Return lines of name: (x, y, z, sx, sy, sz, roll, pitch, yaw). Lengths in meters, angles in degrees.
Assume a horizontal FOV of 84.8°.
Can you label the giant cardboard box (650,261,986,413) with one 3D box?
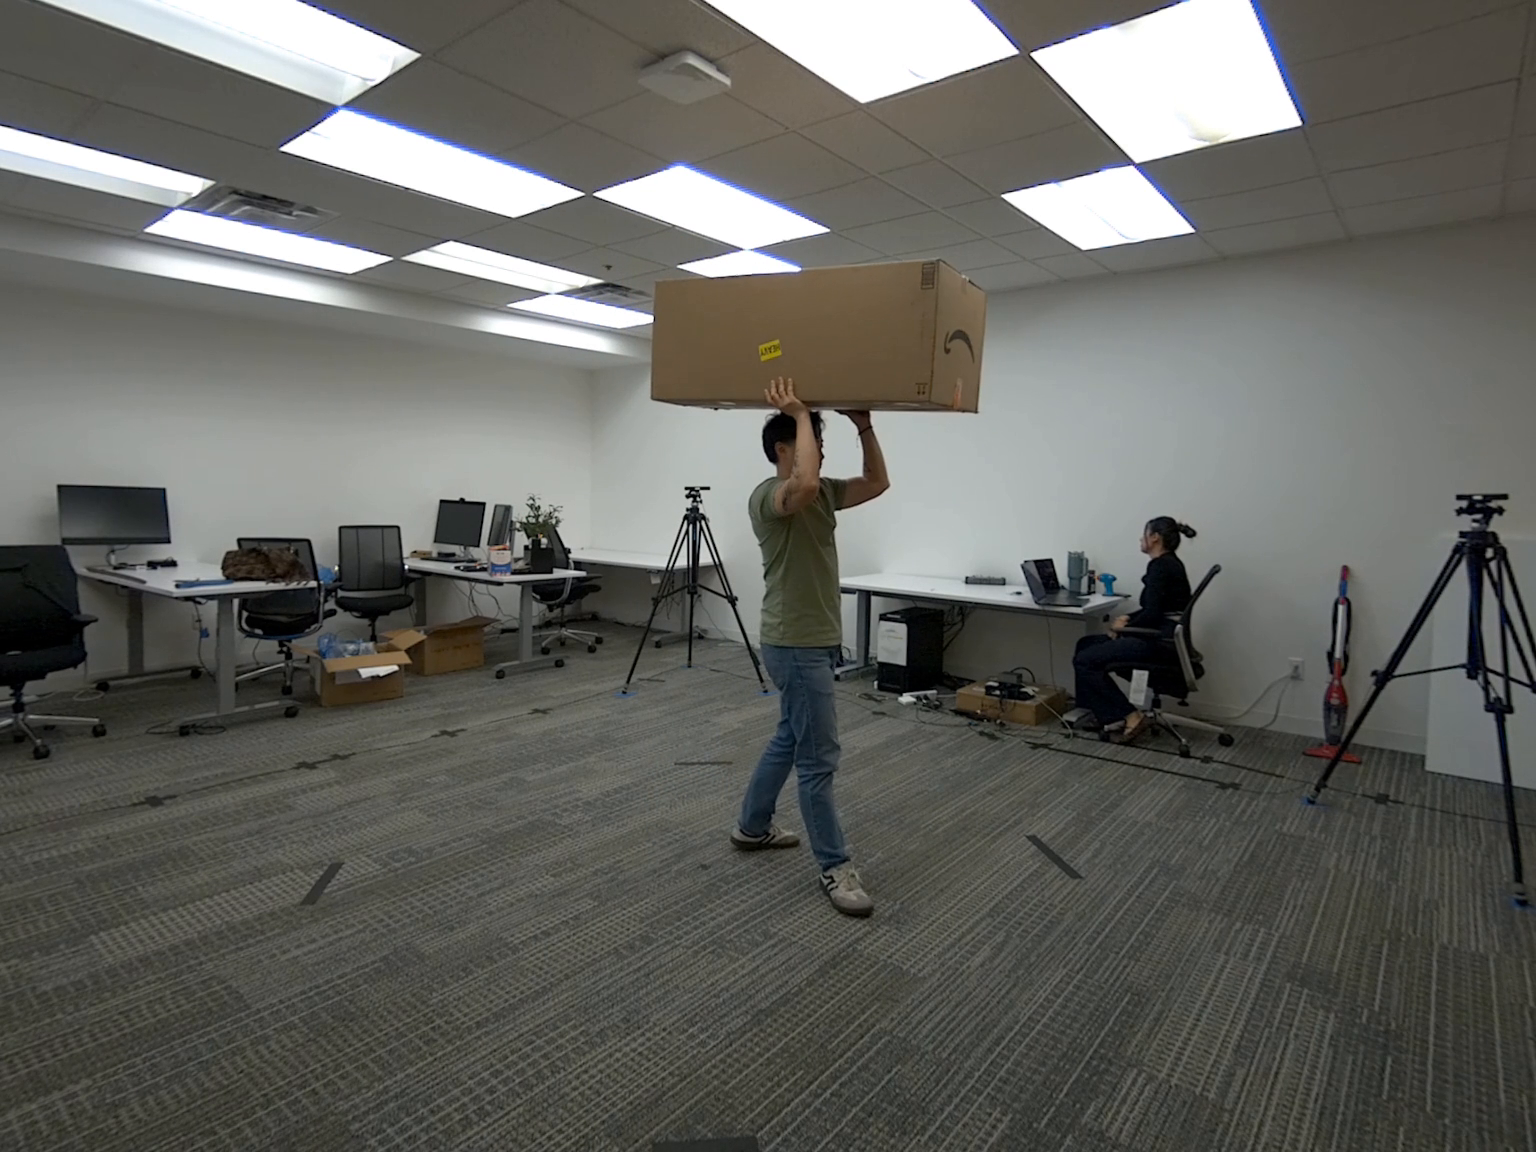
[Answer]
giant cardboard box: (0.162, -0.811, 3.011, 1.057, 0.424, 0.564, 7, 8, 29)
